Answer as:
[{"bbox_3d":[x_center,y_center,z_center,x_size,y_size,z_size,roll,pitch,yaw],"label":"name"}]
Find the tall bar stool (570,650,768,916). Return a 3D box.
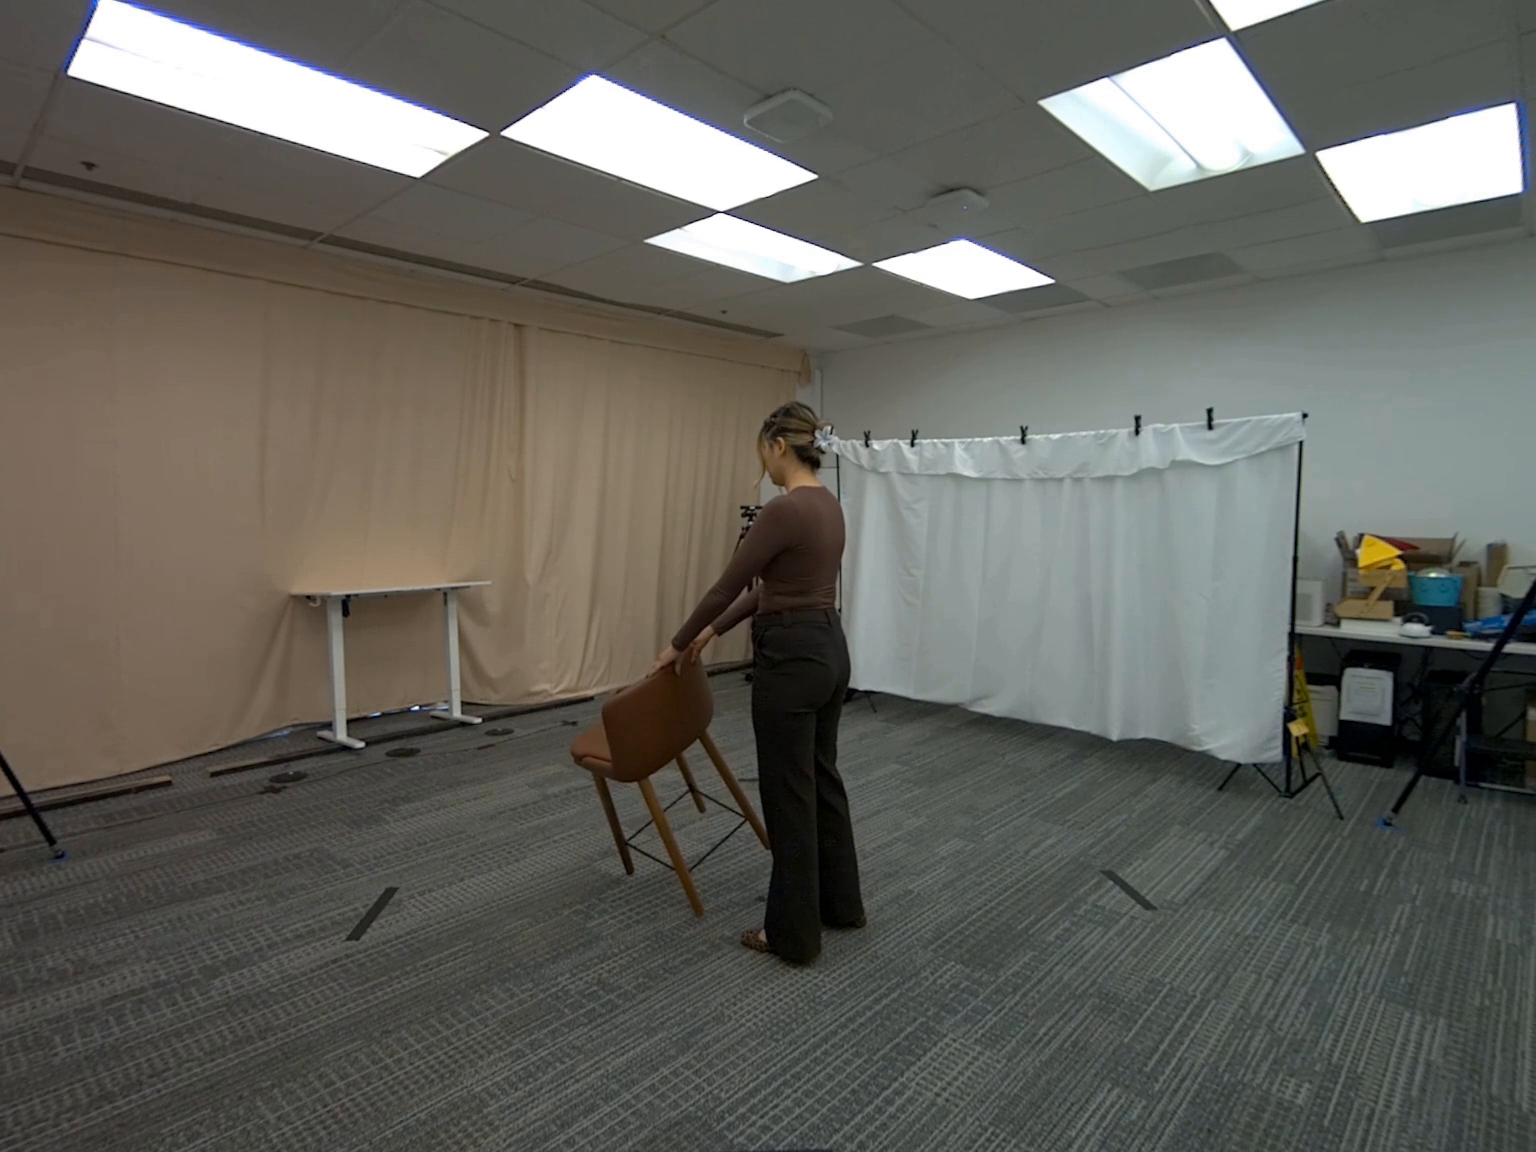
[{"bbox_3d":[-0.383,0.672,2.990,0.449,0.874,0.483,-32,25,-33],"label":"tall bar stool"}]
